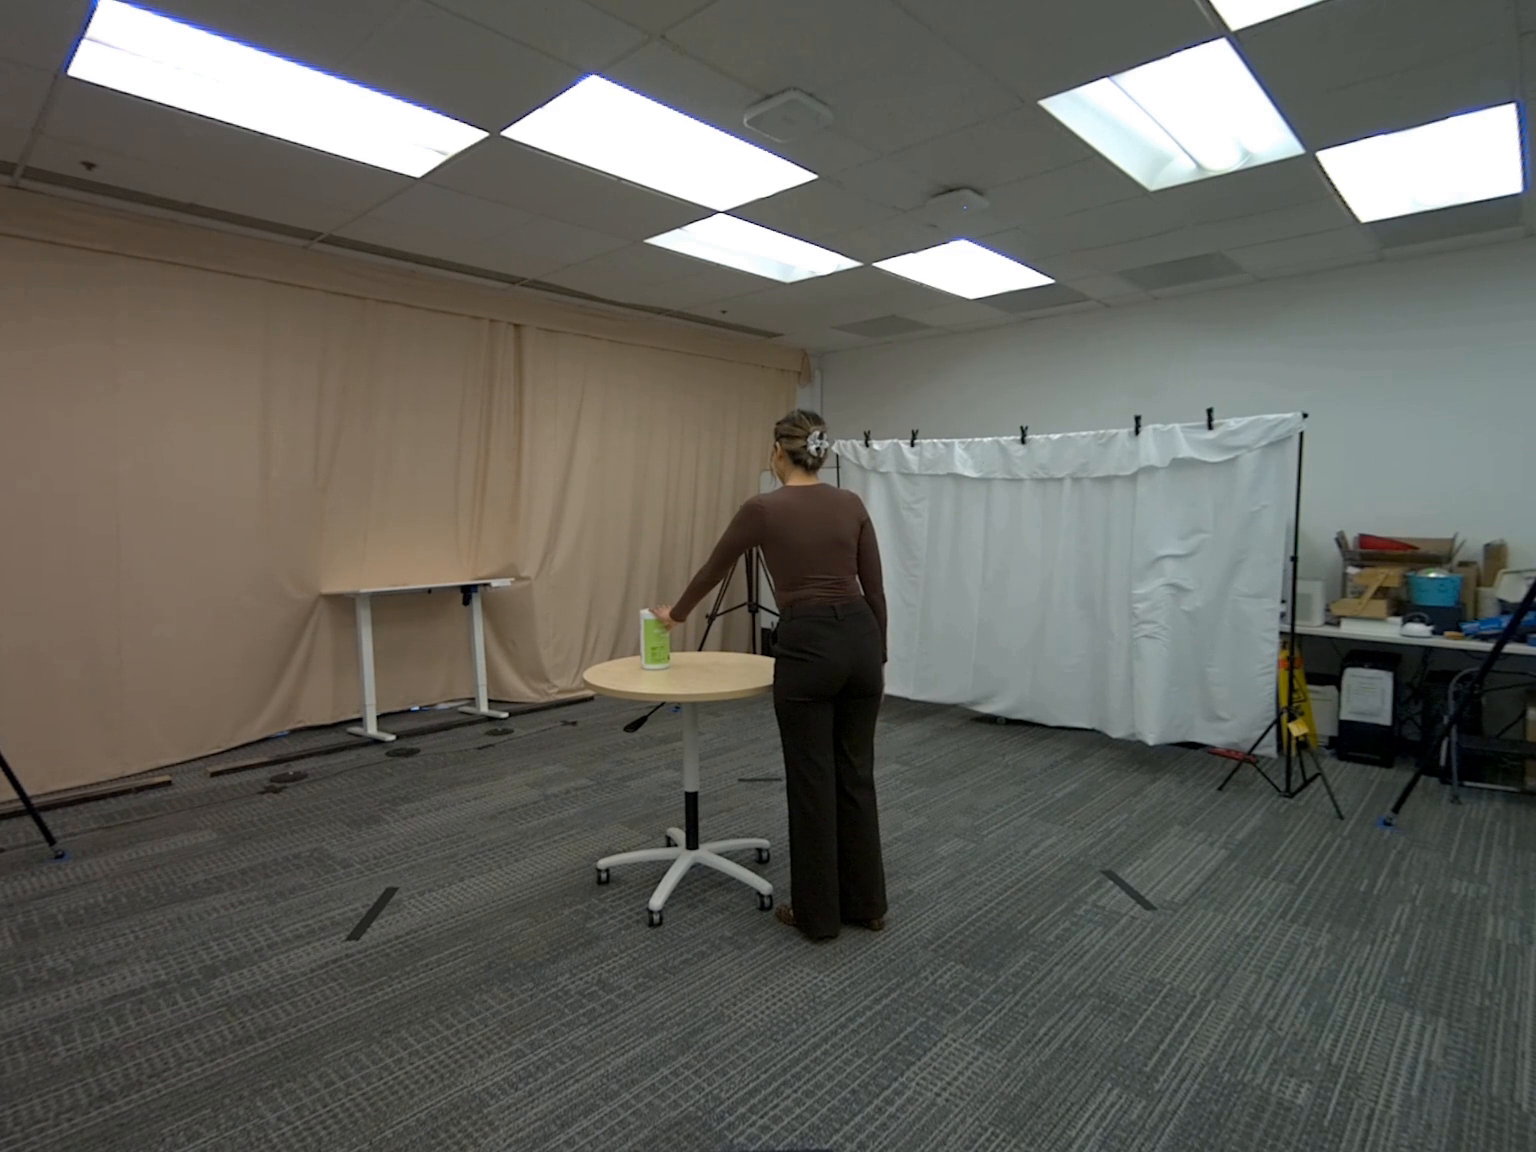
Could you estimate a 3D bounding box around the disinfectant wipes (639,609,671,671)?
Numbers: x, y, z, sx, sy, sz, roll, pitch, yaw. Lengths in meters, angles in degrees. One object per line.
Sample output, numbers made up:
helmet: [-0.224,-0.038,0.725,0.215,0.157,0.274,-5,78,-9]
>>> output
disinfectant wipes: [-0.420,0.234,3.118,0.118,0.217,0.118,1,3,-2]
